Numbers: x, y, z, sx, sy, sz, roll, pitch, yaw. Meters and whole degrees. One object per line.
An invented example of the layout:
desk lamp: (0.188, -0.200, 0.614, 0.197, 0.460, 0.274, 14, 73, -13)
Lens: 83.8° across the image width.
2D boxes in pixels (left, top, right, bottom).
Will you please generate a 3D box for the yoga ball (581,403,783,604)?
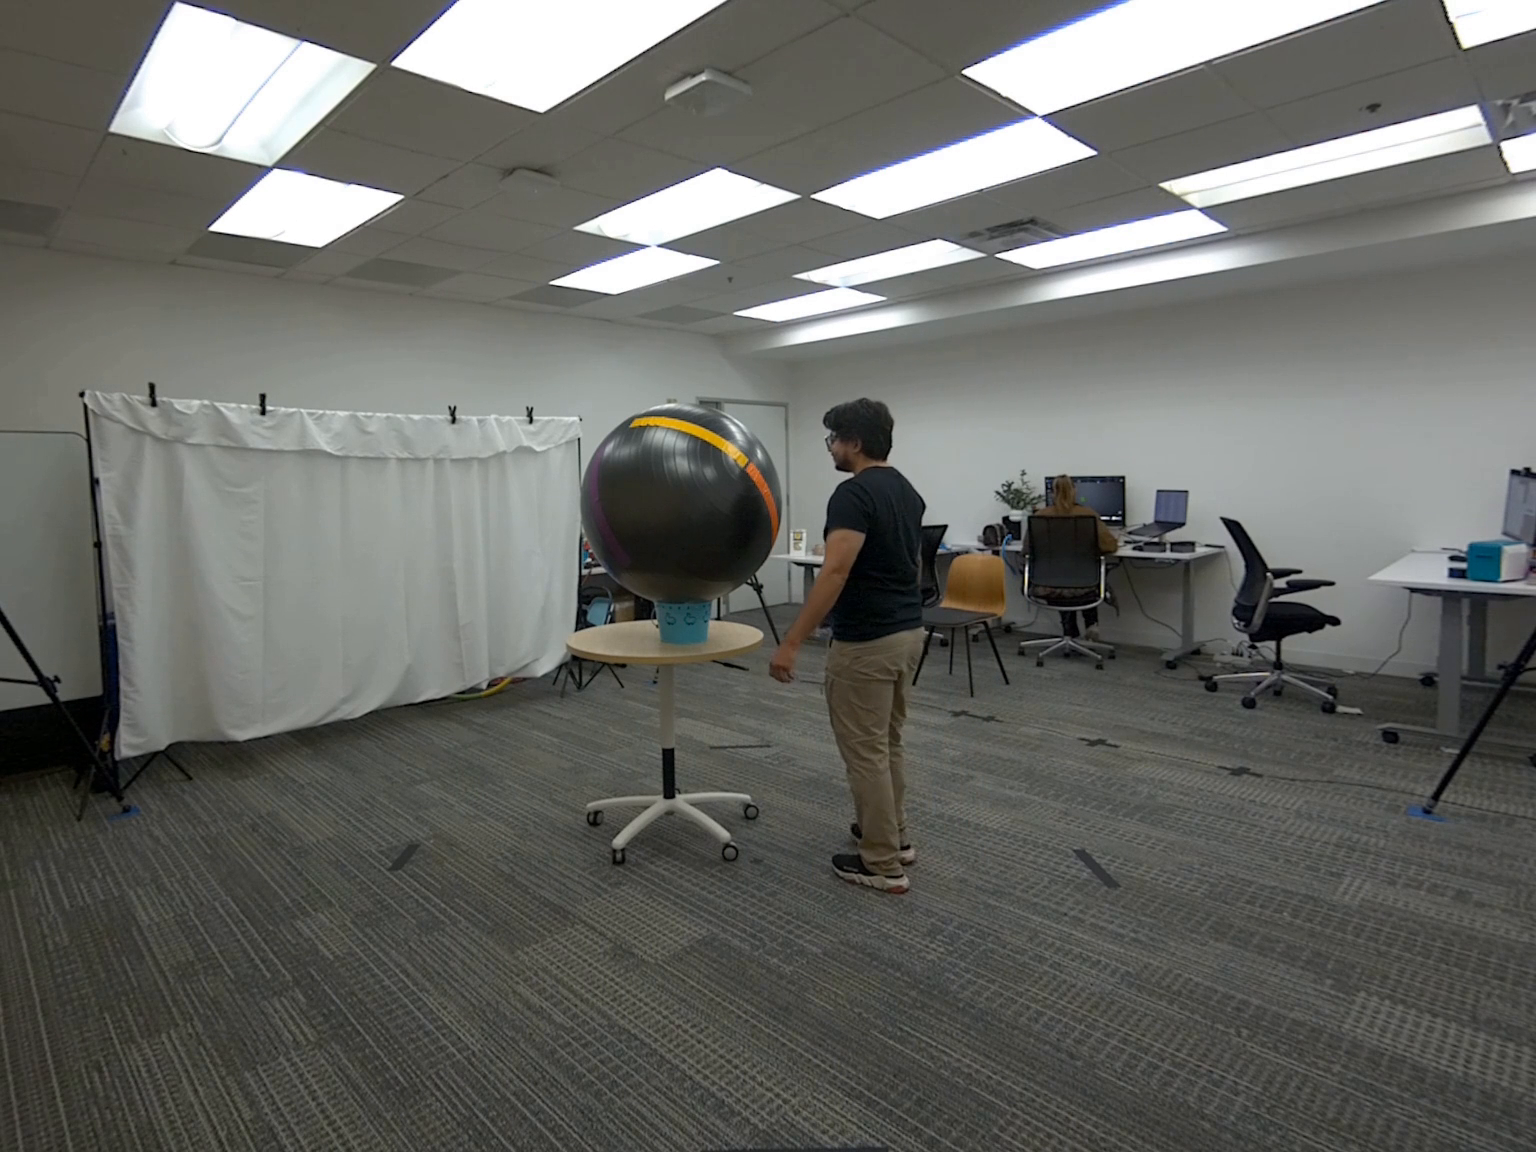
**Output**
yoga ball: (-0.325, -0.263, 3.226, 0.757, 0.755, 0.762, -1, 5, -2)
